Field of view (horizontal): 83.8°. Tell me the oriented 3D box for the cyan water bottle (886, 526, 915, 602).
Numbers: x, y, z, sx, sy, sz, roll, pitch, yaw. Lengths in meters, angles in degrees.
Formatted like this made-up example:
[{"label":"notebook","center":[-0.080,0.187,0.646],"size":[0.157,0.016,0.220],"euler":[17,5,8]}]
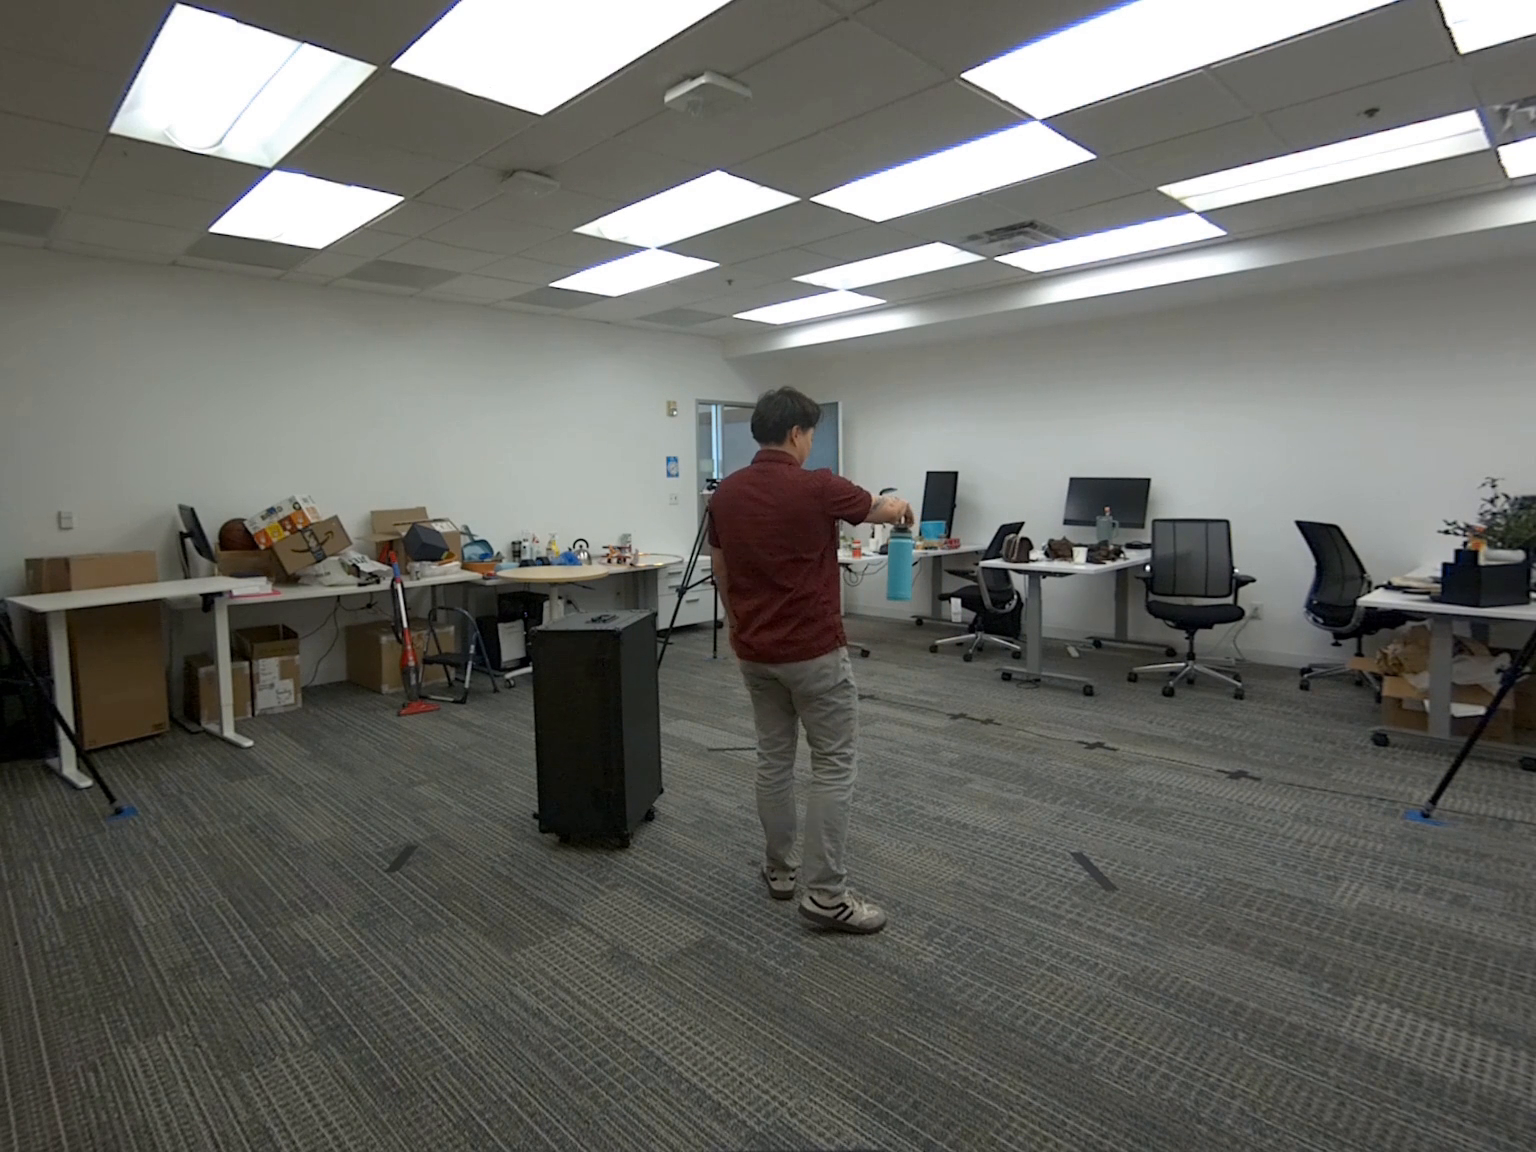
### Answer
[{"label":"cyan water bottle","center":[0.493,-0.051,3.155],"size":[0.092,0.283,0.092],"euler":[3,2,-2]}]
